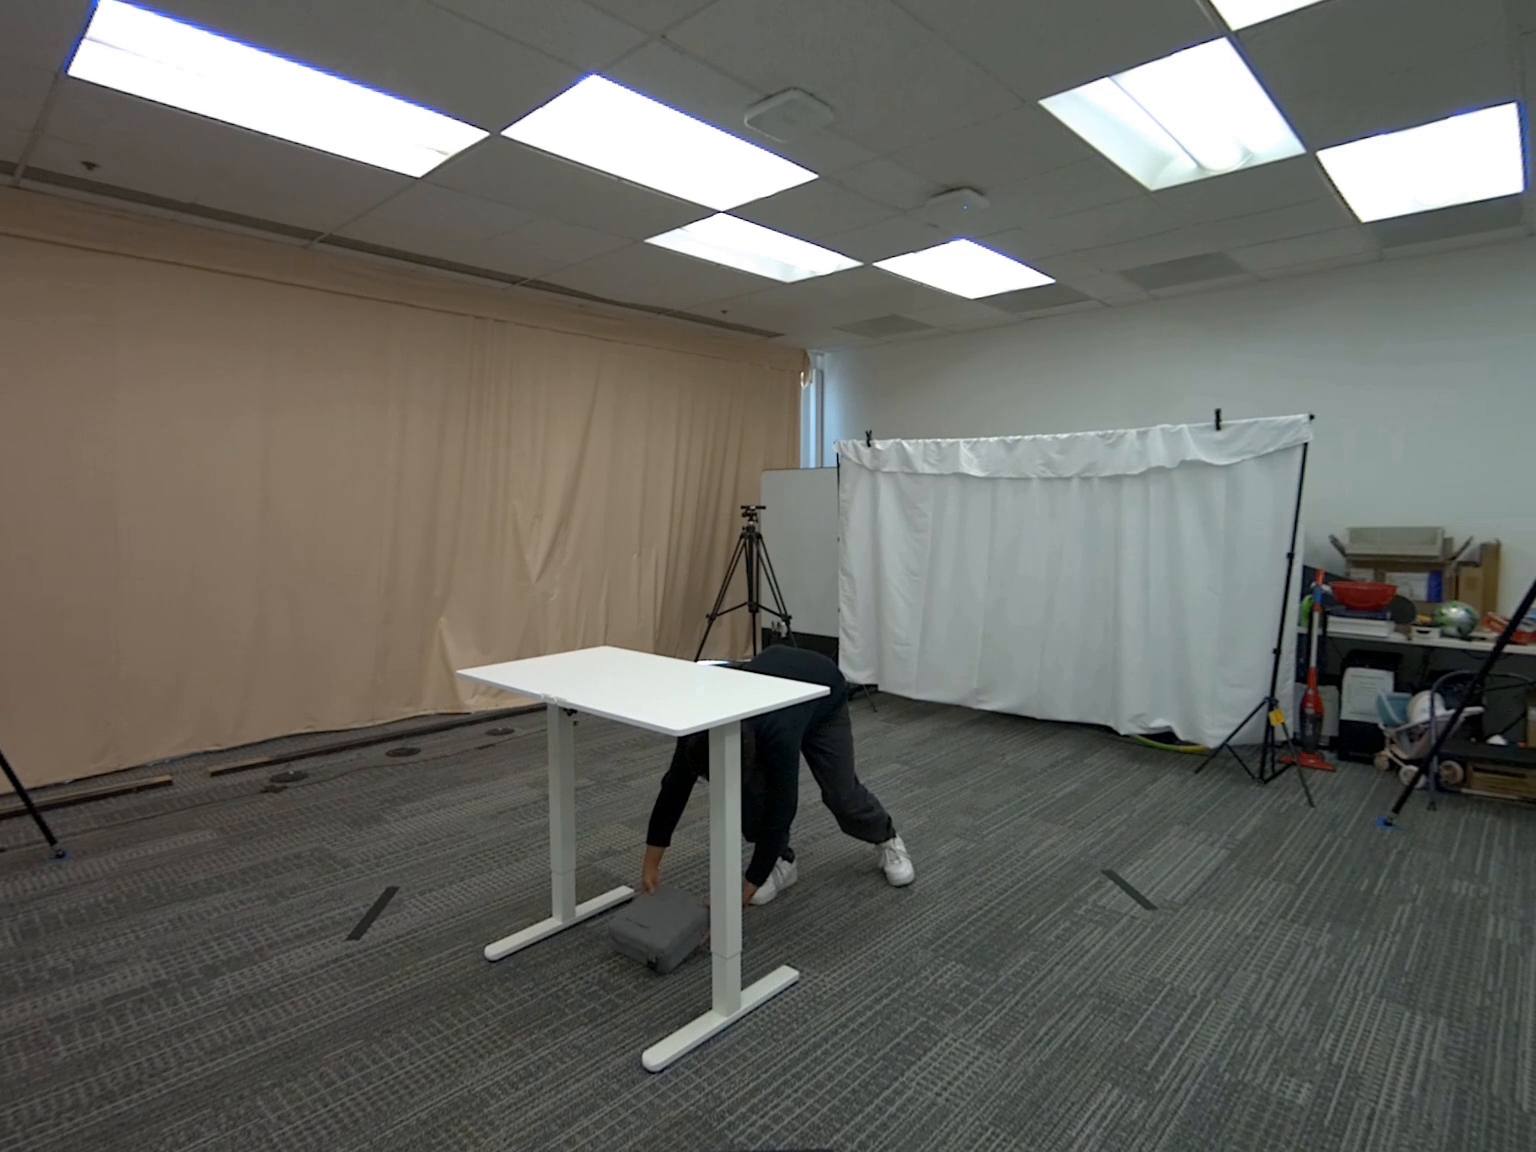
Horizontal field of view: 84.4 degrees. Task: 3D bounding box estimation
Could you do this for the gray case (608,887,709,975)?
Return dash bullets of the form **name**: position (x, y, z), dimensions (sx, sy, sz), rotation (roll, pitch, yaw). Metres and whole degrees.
- **gray case**: position (-0.331, 1.099, 2.640), dimensions (0.269, 0.103, 0.251), rotation (1, 14, 38)
